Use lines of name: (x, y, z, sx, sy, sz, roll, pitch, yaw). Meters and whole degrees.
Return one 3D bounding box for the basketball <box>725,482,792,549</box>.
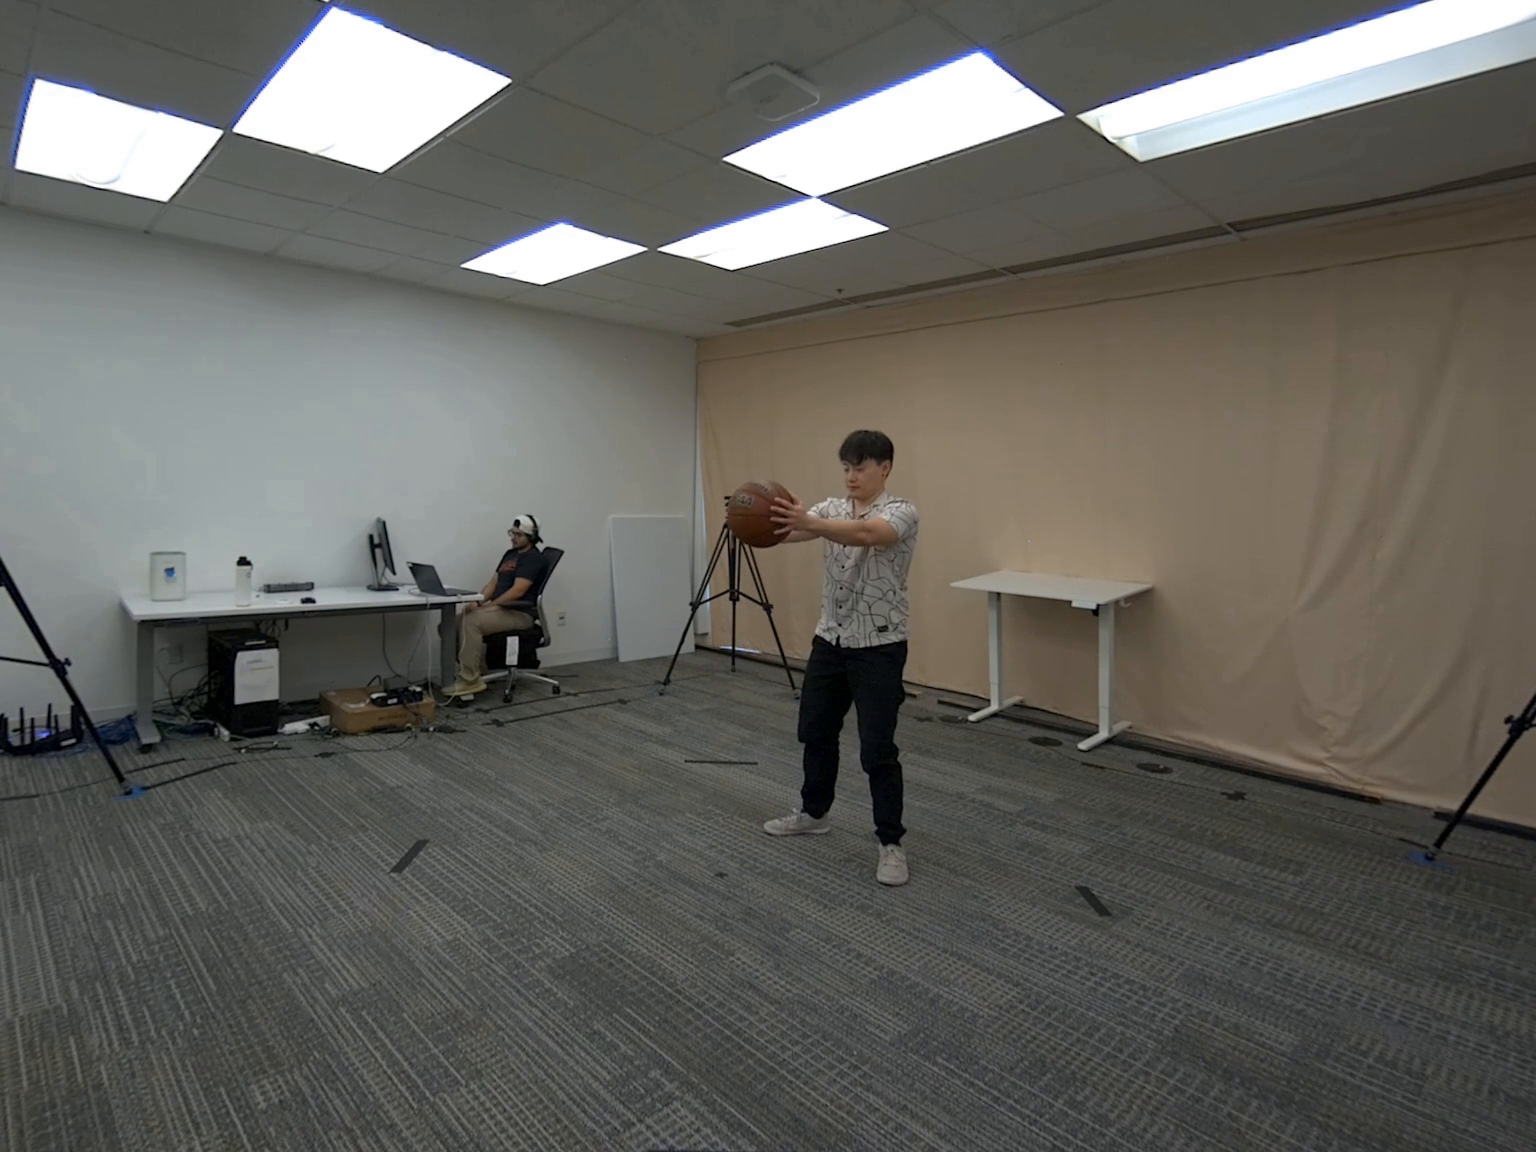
basketball: (-0.031, -0.211, 2.923, 0.236, 0.235, 0.237, 1, 4, -1)
